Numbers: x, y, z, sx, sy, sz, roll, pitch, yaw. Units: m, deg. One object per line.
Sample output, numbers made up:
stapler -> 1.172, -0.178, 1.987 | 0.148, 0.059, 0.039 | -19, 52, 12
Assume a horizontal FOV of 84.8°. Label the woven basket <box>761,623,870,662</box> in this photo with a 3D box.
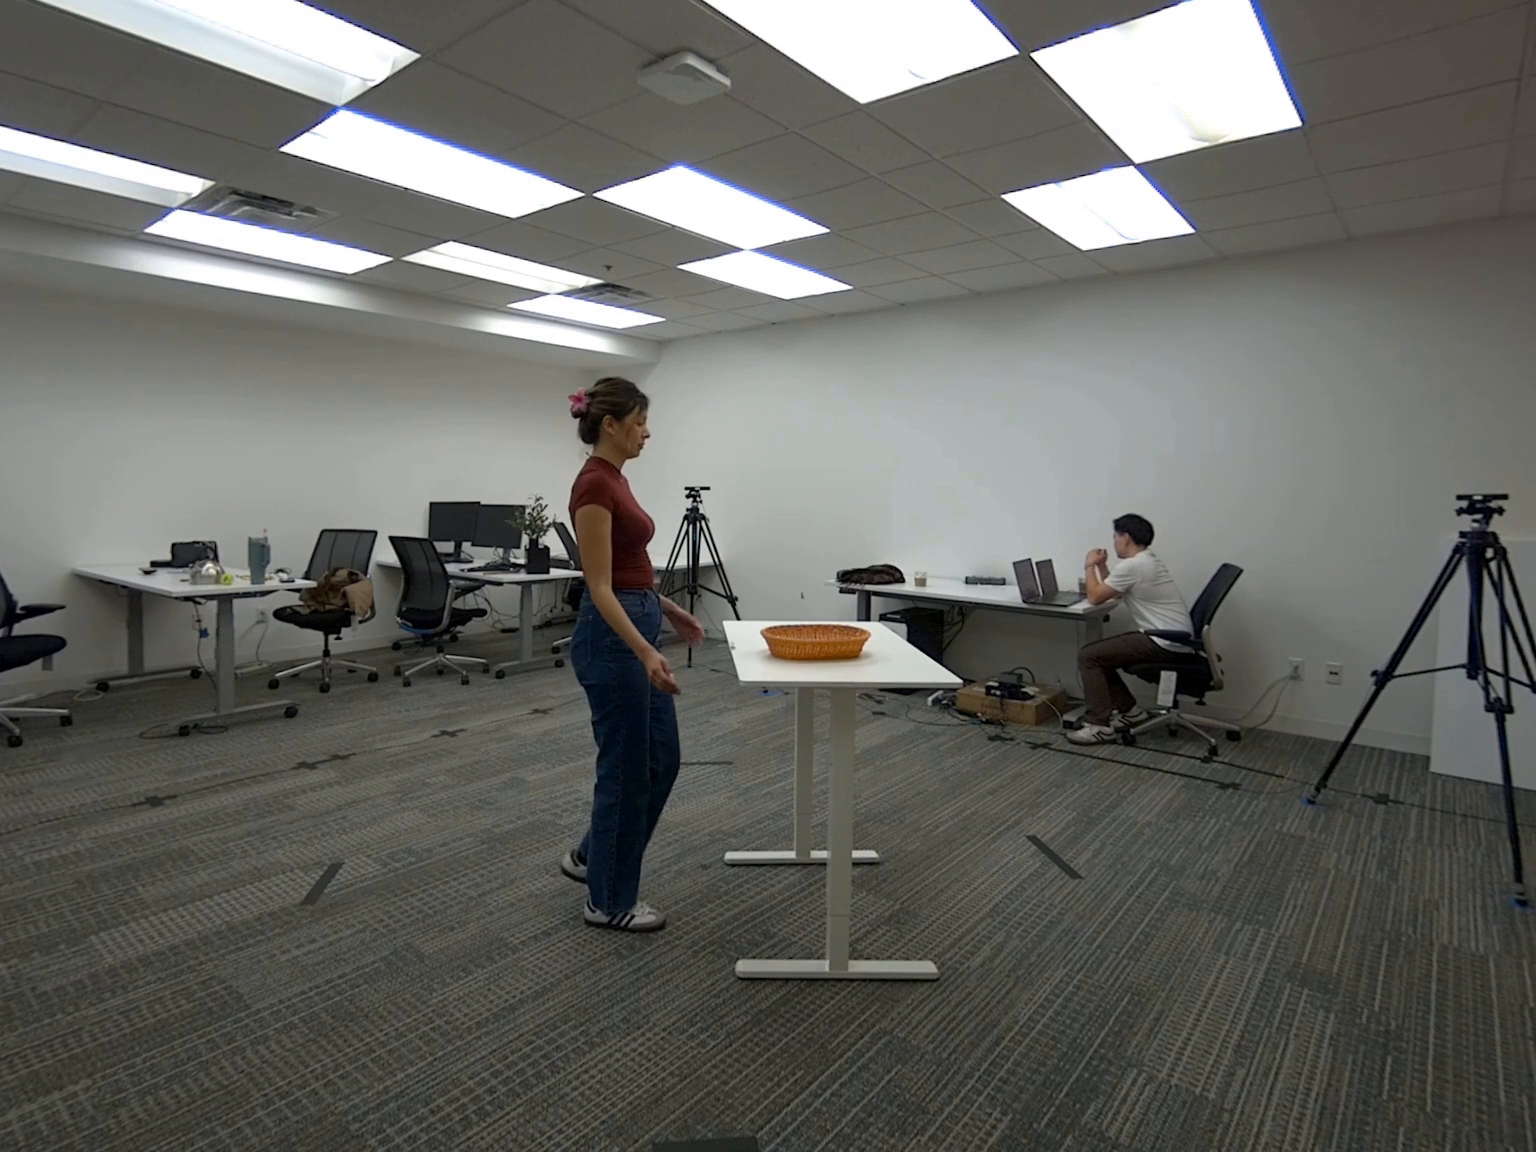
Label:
woven basket -> 0.139, 0.210, 2.609 | 0.347, 0.073, 0.256 | 0, 7, -10
